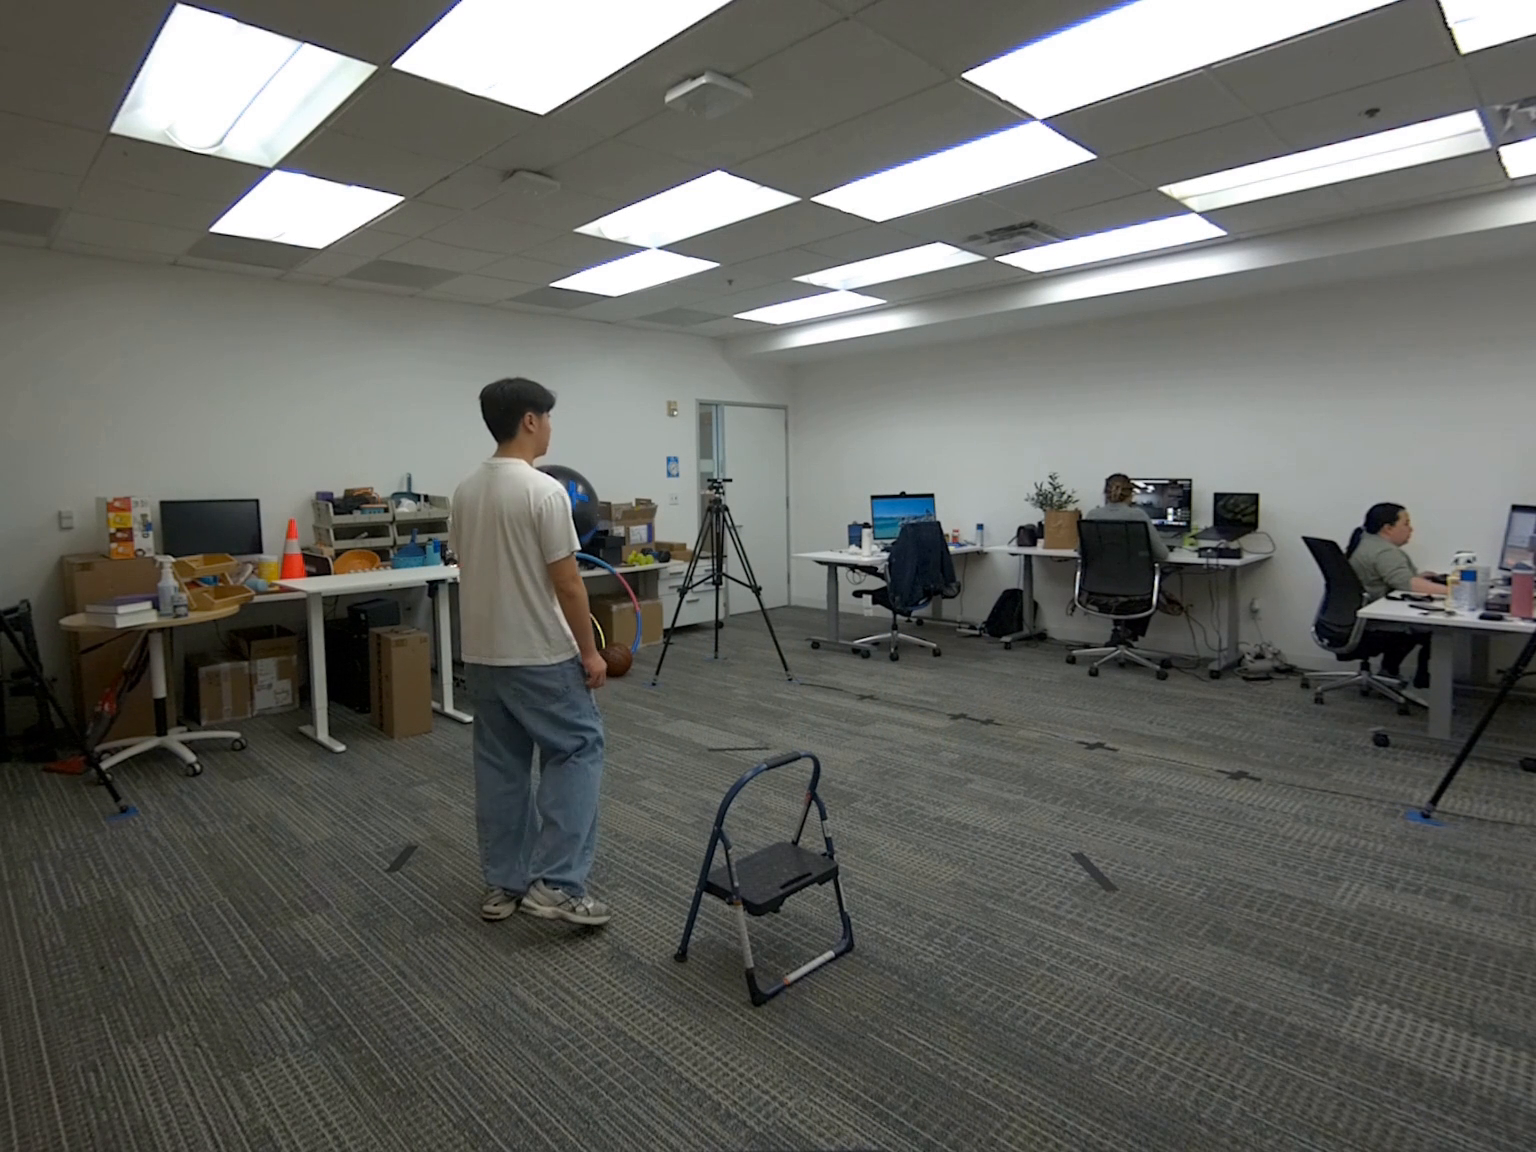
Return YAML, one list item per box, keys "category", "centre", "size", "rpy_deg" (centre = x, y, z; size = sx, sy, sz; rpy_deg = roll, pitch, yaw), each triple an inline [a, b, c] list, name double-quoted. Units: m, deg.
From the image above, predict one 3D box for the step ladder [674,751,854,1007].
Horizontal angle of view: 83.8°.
- category: "step ladder"
  centre: [-0.008, 0.811, 2.498]
  size: [0.419, 0.604, 0.360]
  rpy_deg: [-6, 6, -44]
